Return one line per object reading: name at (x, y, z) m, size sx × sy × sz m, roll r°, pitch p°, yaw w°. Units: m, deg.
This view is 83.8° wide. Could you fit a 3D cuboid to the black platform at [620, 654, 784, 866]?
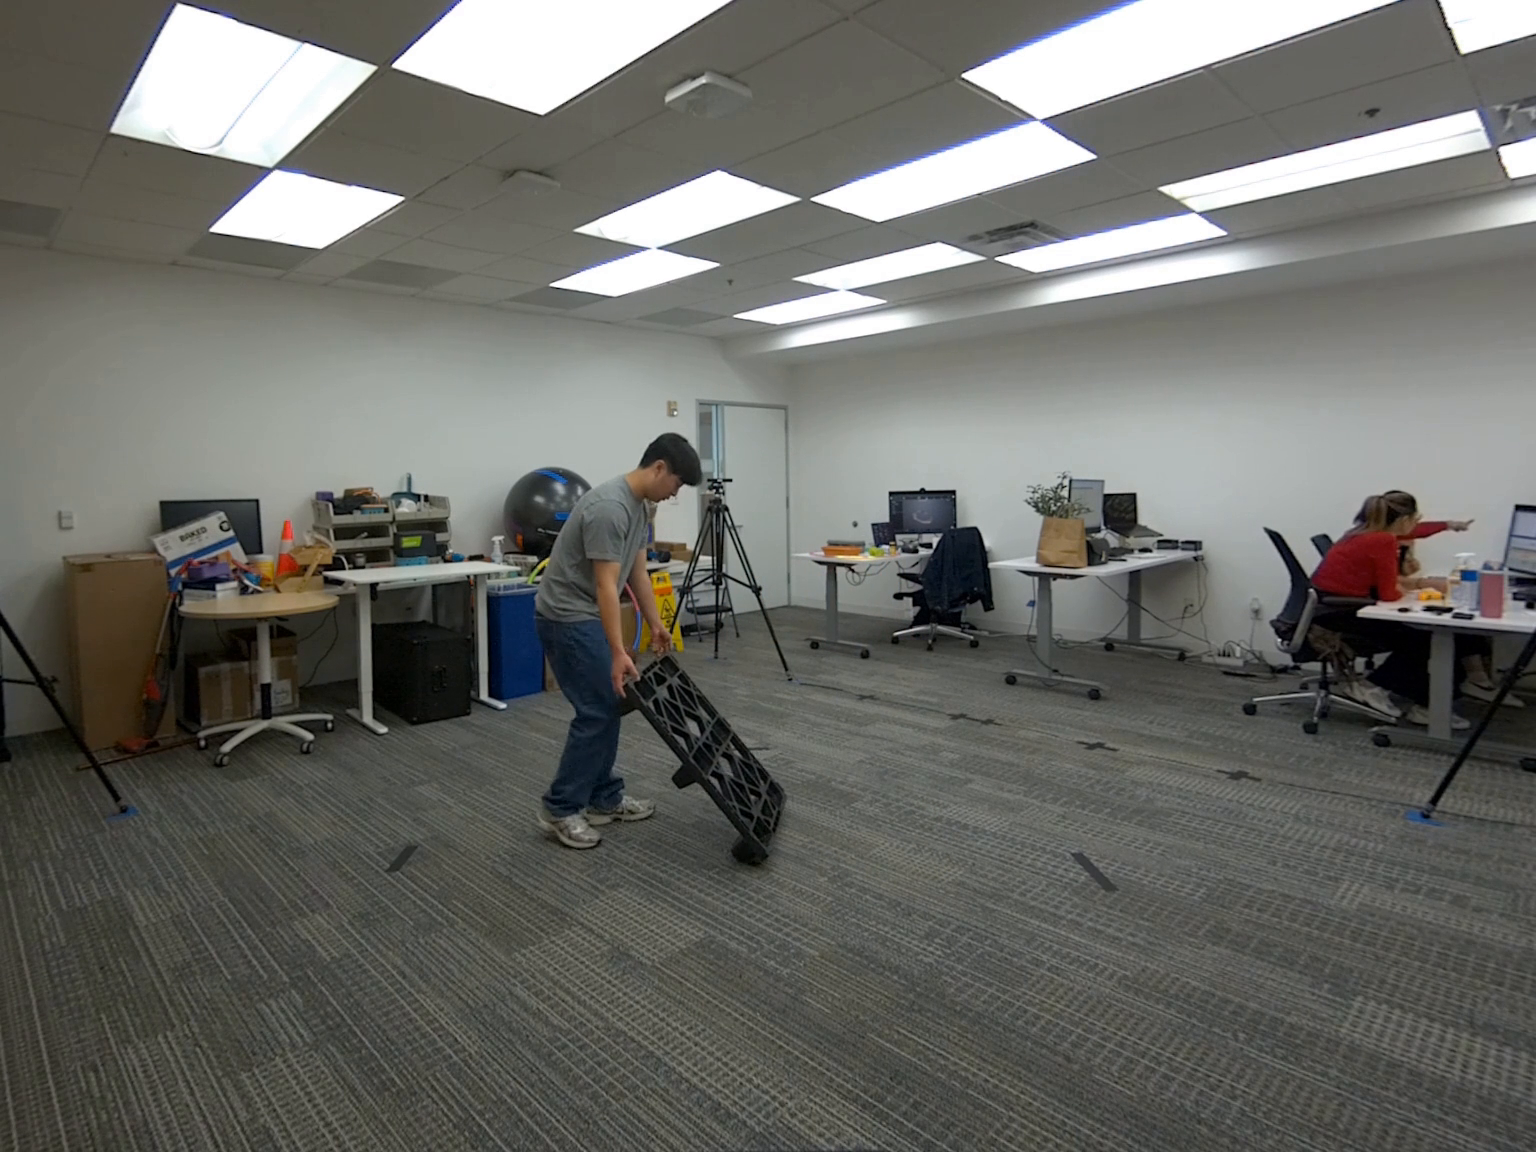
black platform at (-0.255, 0.700, 3.354) m, size 0.143 × 0.810 × 0.602 m, roll -40°, pitch -3°, yaw 10°
